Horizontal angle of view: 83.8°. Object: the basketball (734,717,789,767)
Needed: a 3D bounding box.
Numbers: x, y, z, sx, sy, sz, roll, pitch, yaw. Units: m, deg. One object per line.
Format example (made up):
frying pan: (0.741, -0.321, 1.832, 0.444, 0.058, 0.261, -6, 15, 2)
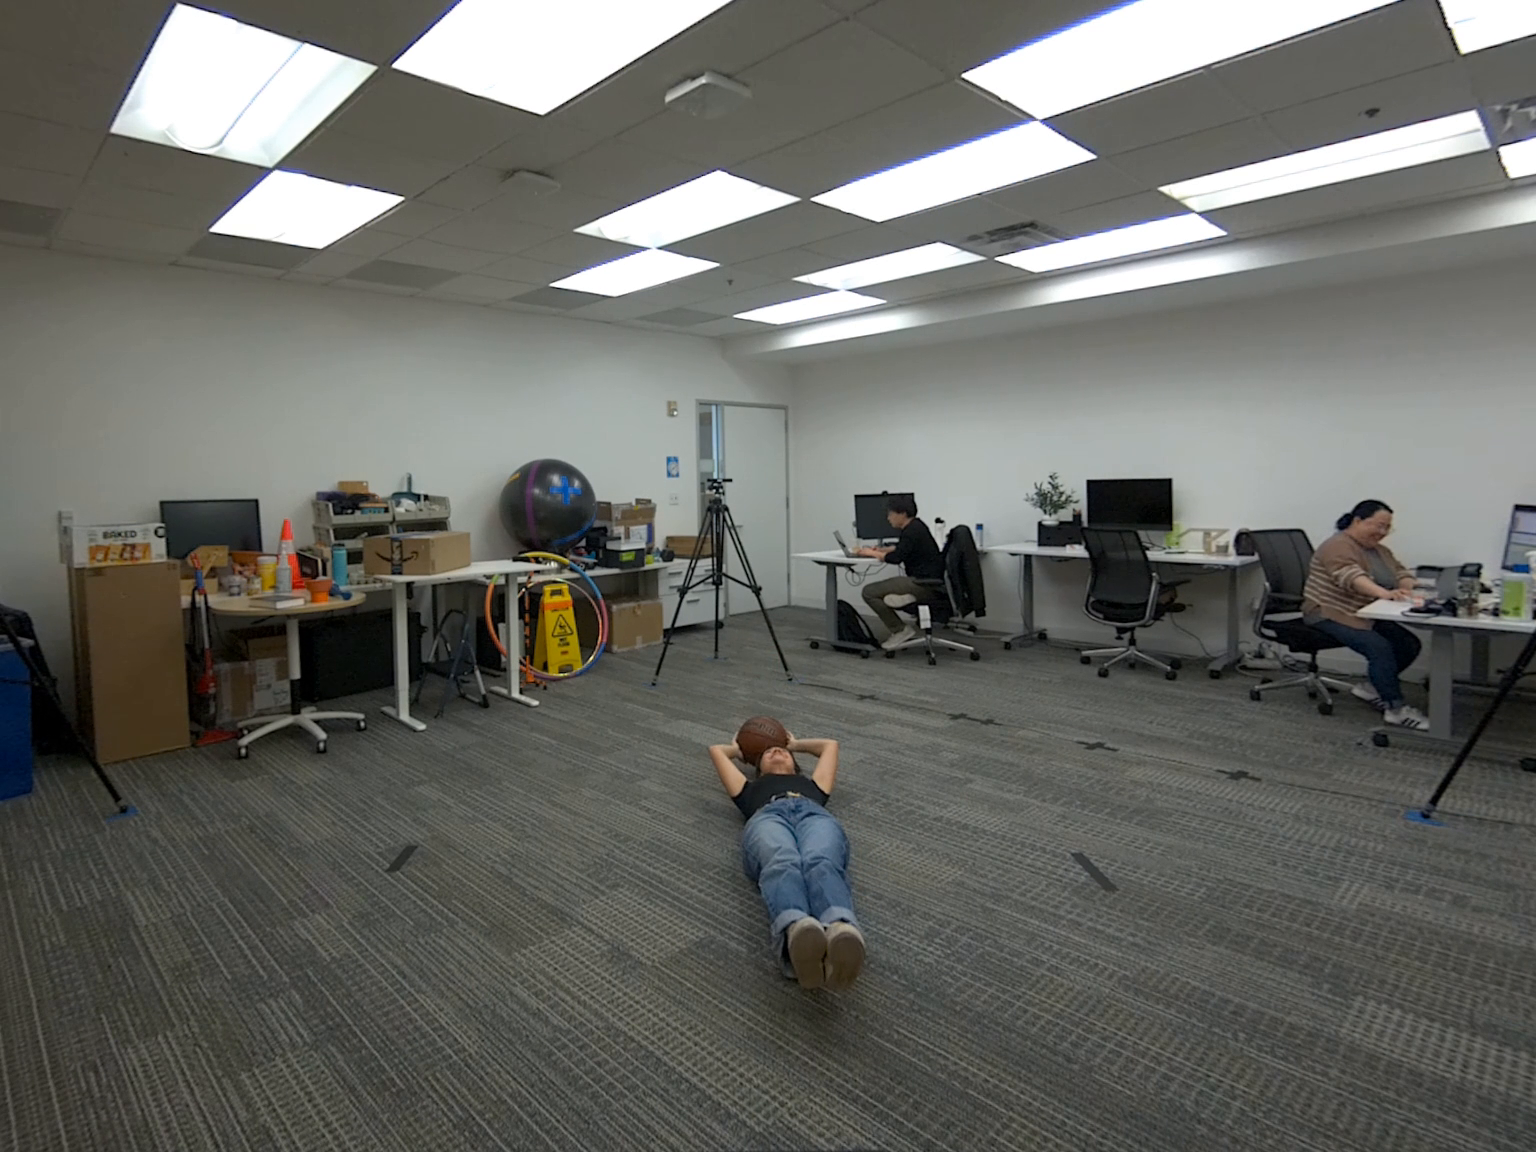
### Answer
basketball: (-0.021, 0.763, 4.028, 0.236, 0.235, 0.237, -1, 5, -2)
